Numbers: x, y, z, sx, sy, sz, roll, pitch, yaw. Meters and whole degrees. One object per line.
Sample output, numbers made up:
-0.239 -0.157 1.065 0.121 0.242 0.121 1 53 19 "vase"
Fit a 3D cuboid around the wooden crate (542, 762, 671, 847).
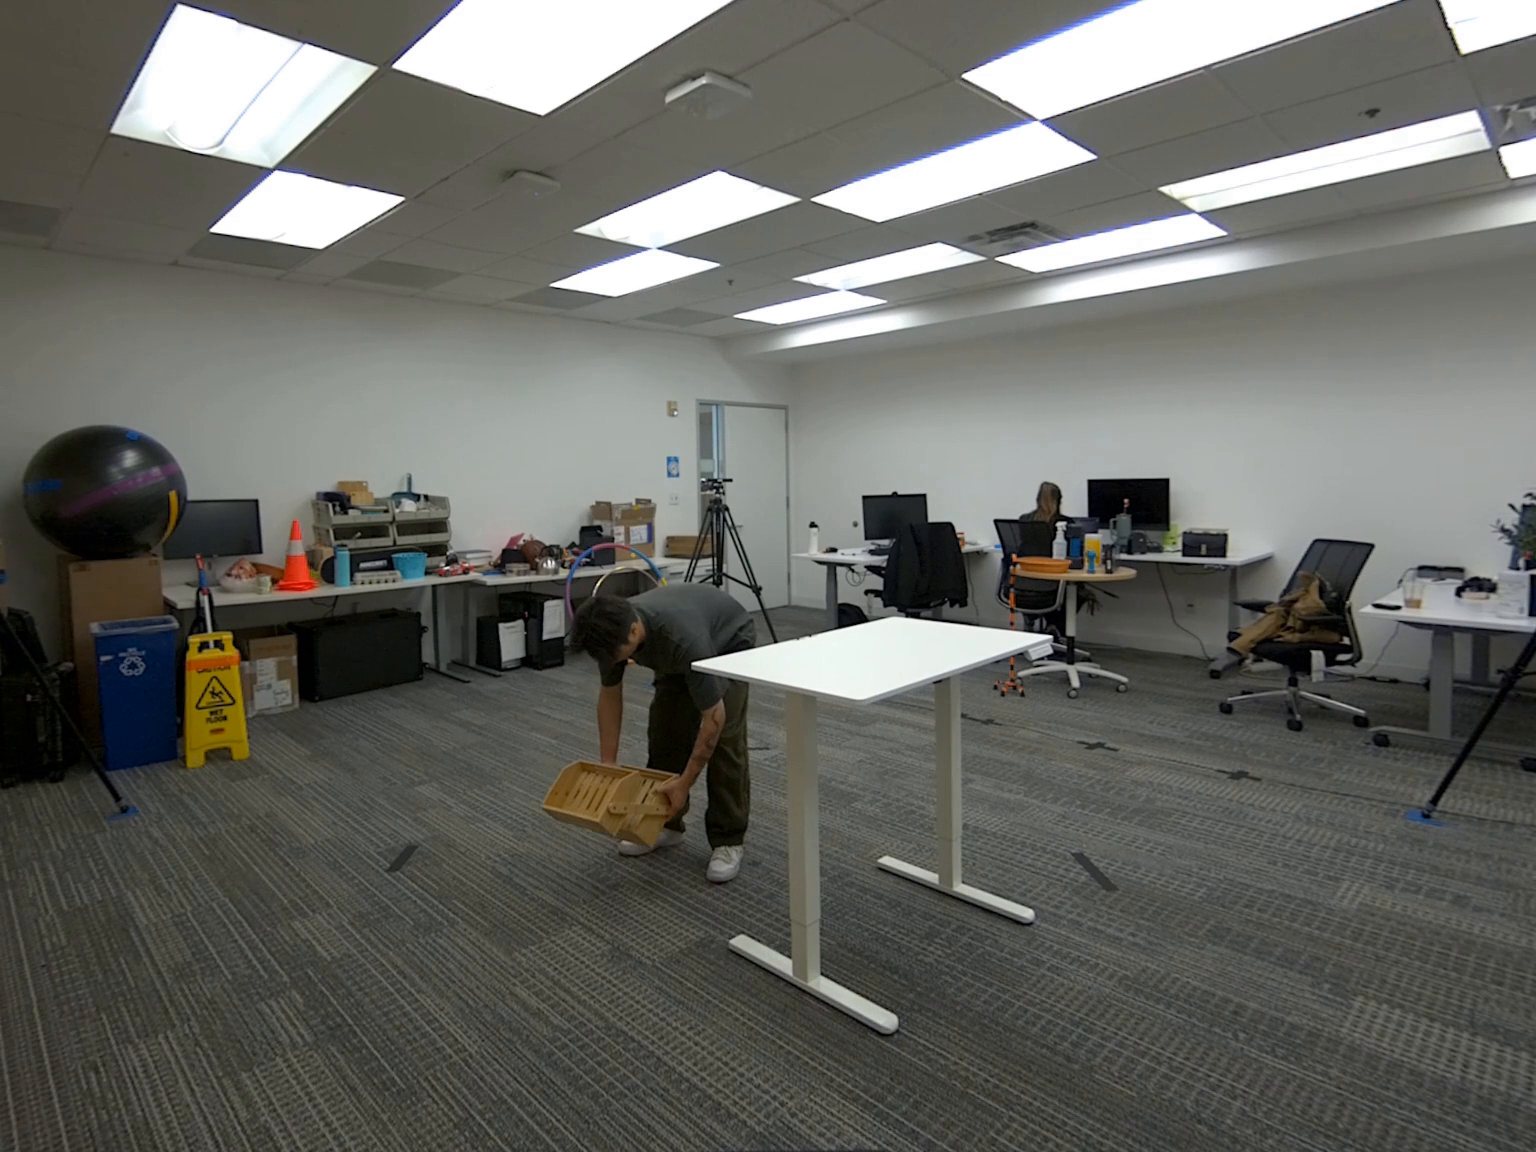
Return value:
-0.529 0.735 2.892 0.333 0.264 0.304 -3 45 39 "wooden crate"
